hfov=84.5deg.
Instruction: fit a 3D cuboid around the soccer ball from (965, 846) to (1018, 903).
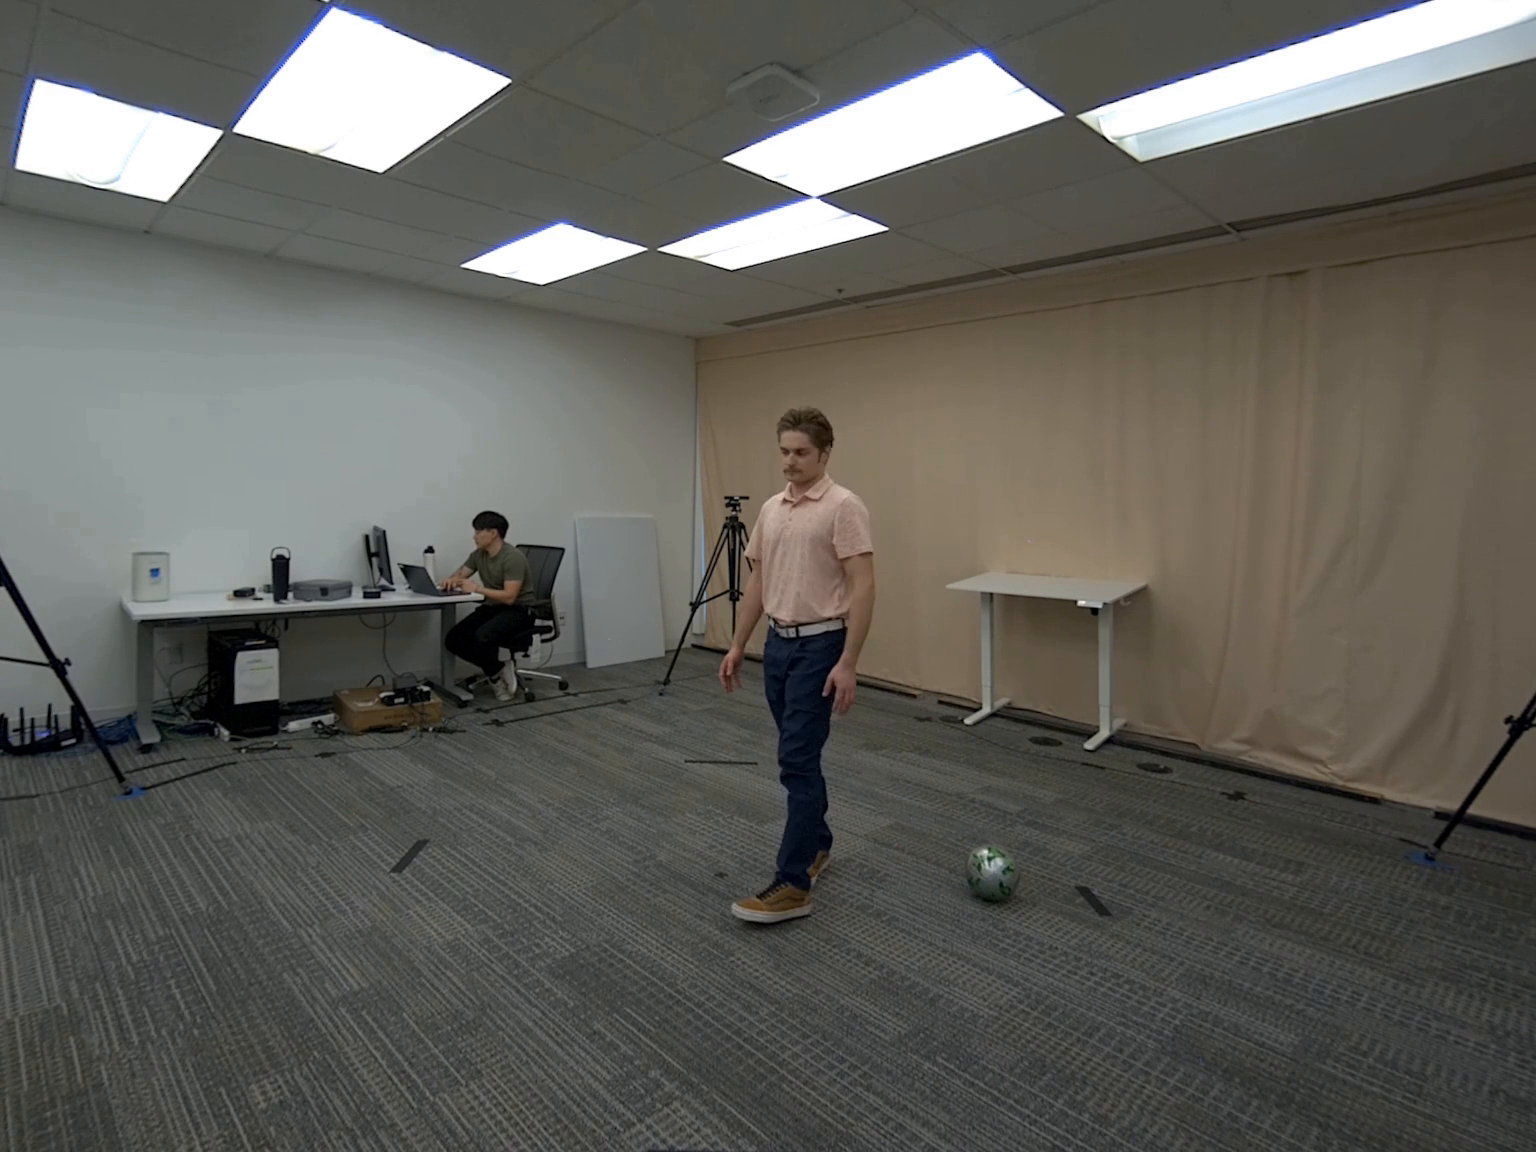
[{"bbox_3d":[0.787,1.052,2.975,0.187,0.187,0.188,1,4,-1],"label":"soccer ball"}]
